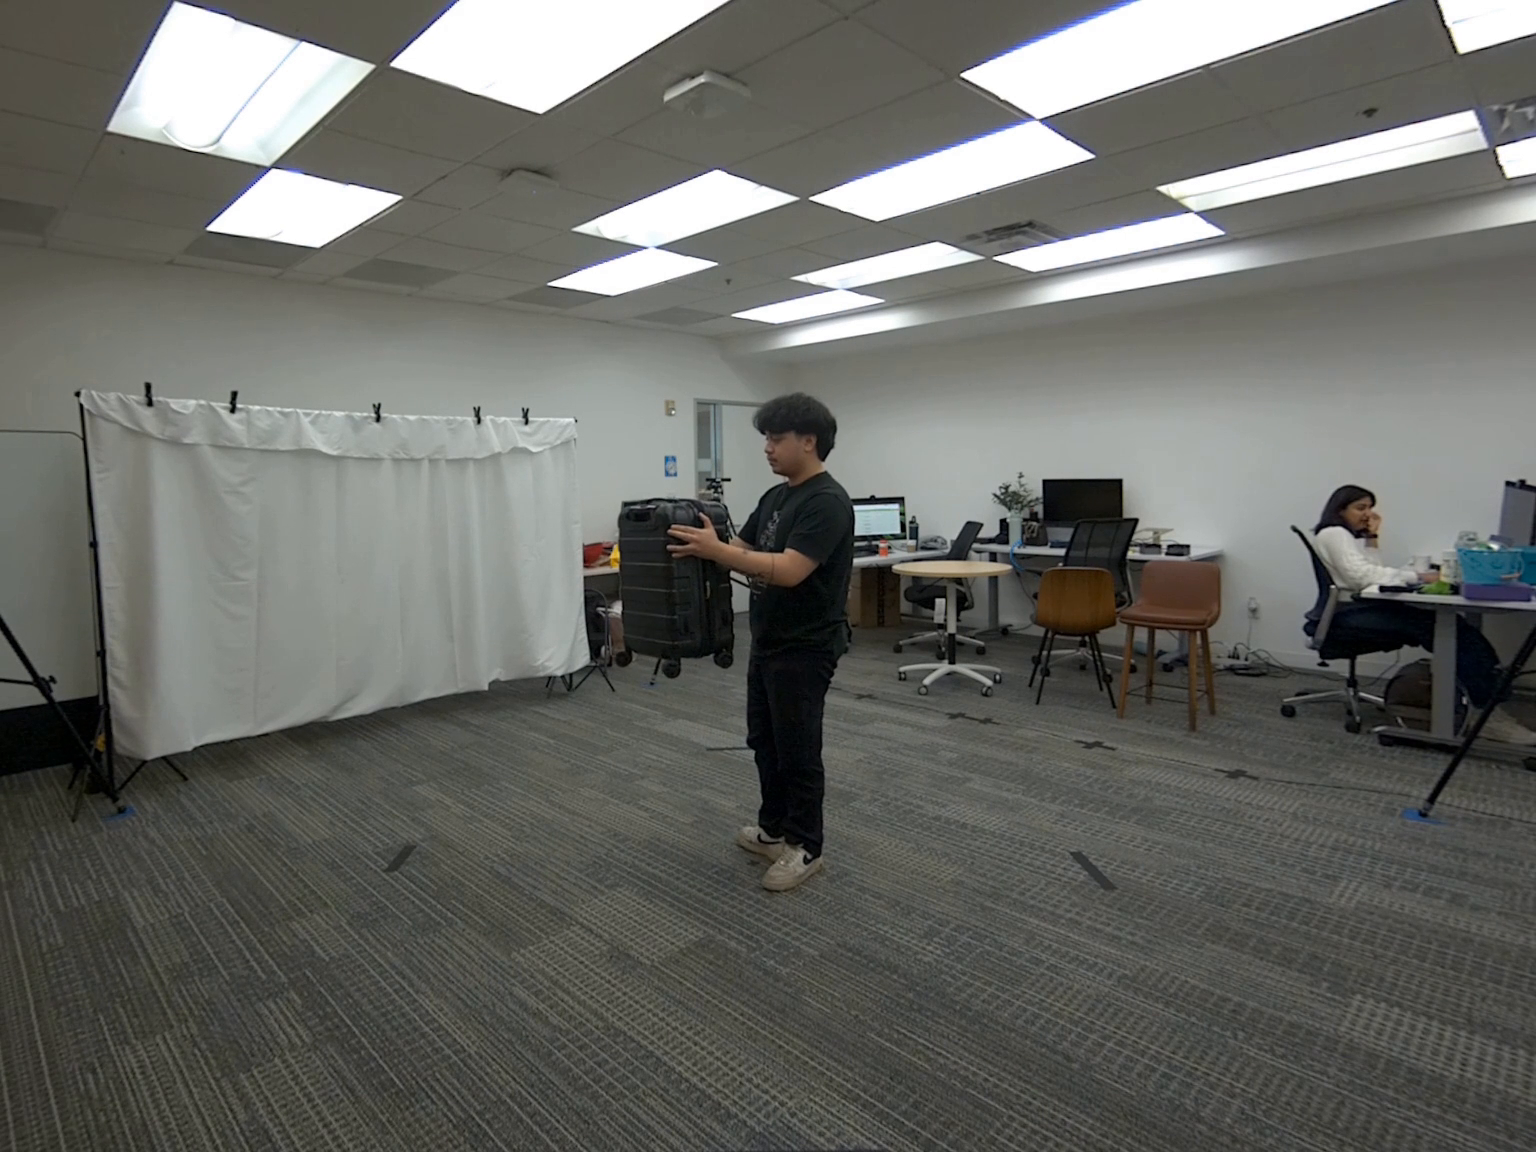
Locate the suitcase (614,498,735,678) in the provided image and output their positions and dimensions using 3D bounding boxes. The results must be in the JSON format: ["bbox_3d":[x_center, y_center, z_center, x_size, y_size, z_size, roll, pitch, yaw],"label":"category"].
[{"bbox_3d":[-0.304,0.018,2.800,0.242,0.548,0.386,-4,3,-38],"label":"suitcase"}]
